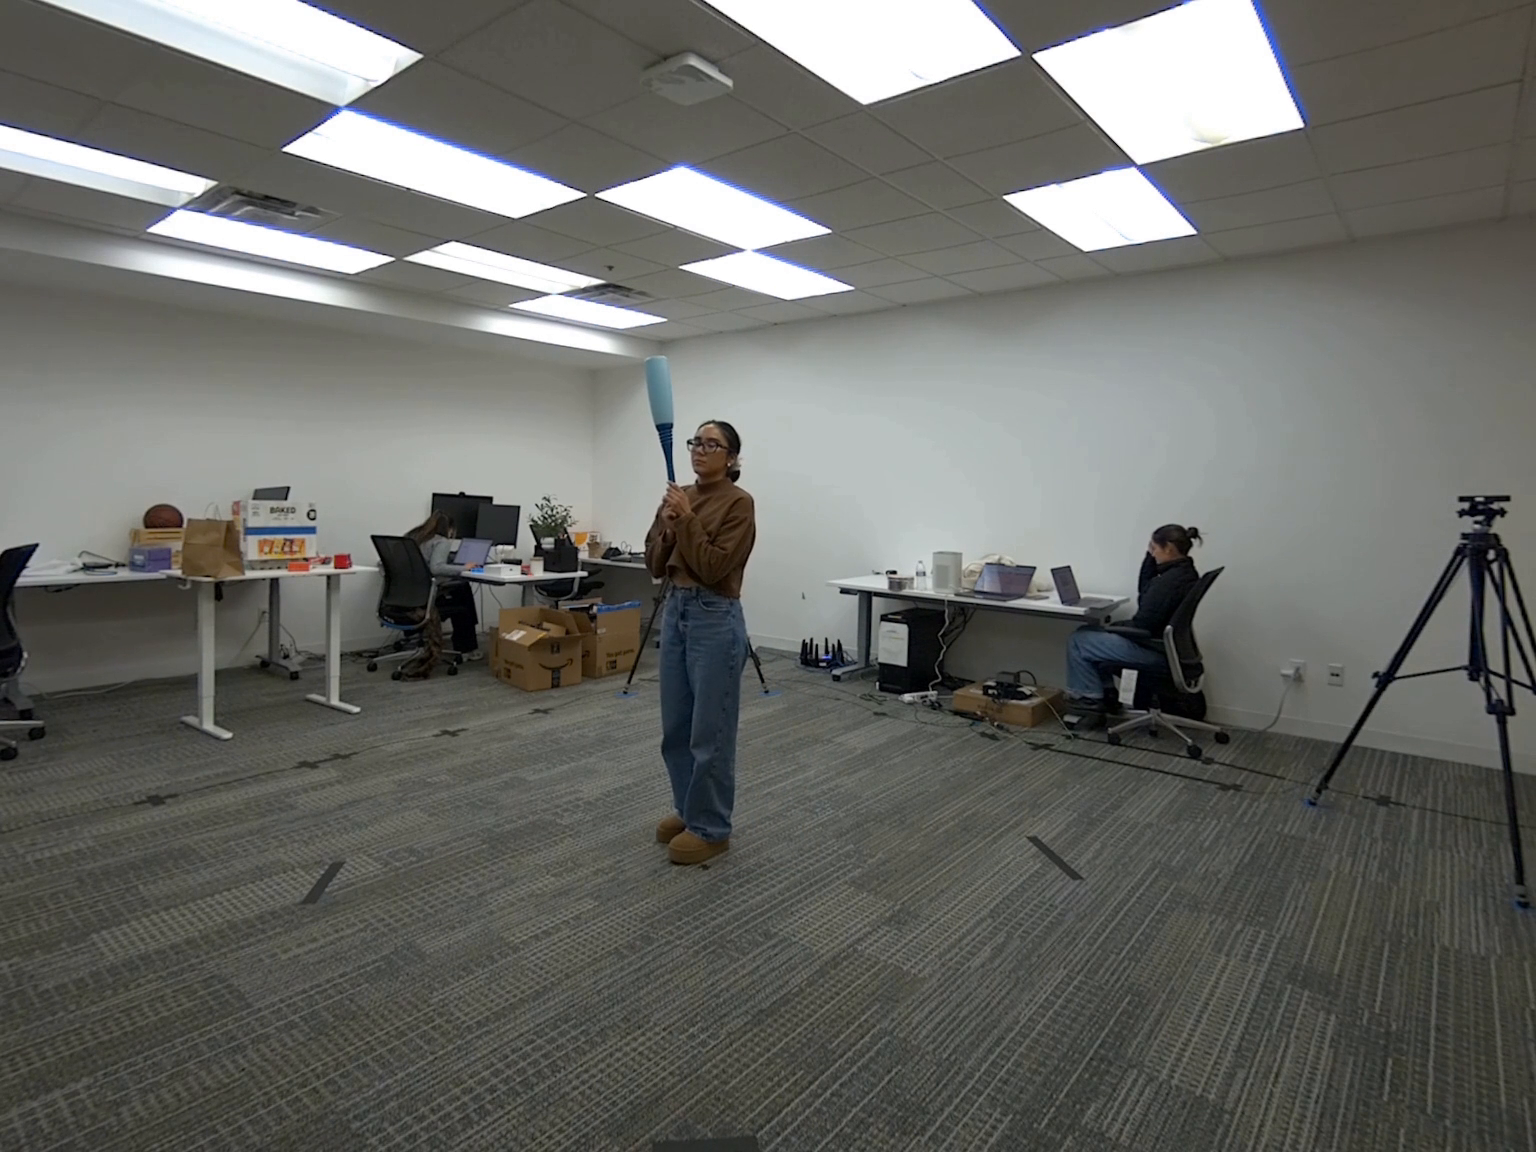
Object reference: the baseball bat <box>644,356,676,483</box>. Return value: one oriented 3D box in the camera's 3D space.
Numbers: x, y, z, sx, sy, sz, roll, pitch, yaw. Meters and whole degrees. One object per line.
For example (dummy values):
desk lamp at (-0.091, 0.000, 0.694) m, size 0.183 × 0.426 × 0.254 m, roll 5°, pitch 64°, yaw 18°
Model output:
baseball bat at (-0.392, -0.541, 3.128) m, size 0.089 × 0.544 × 0.089 m, roll -8°, pitch -1°, yaw -2°
